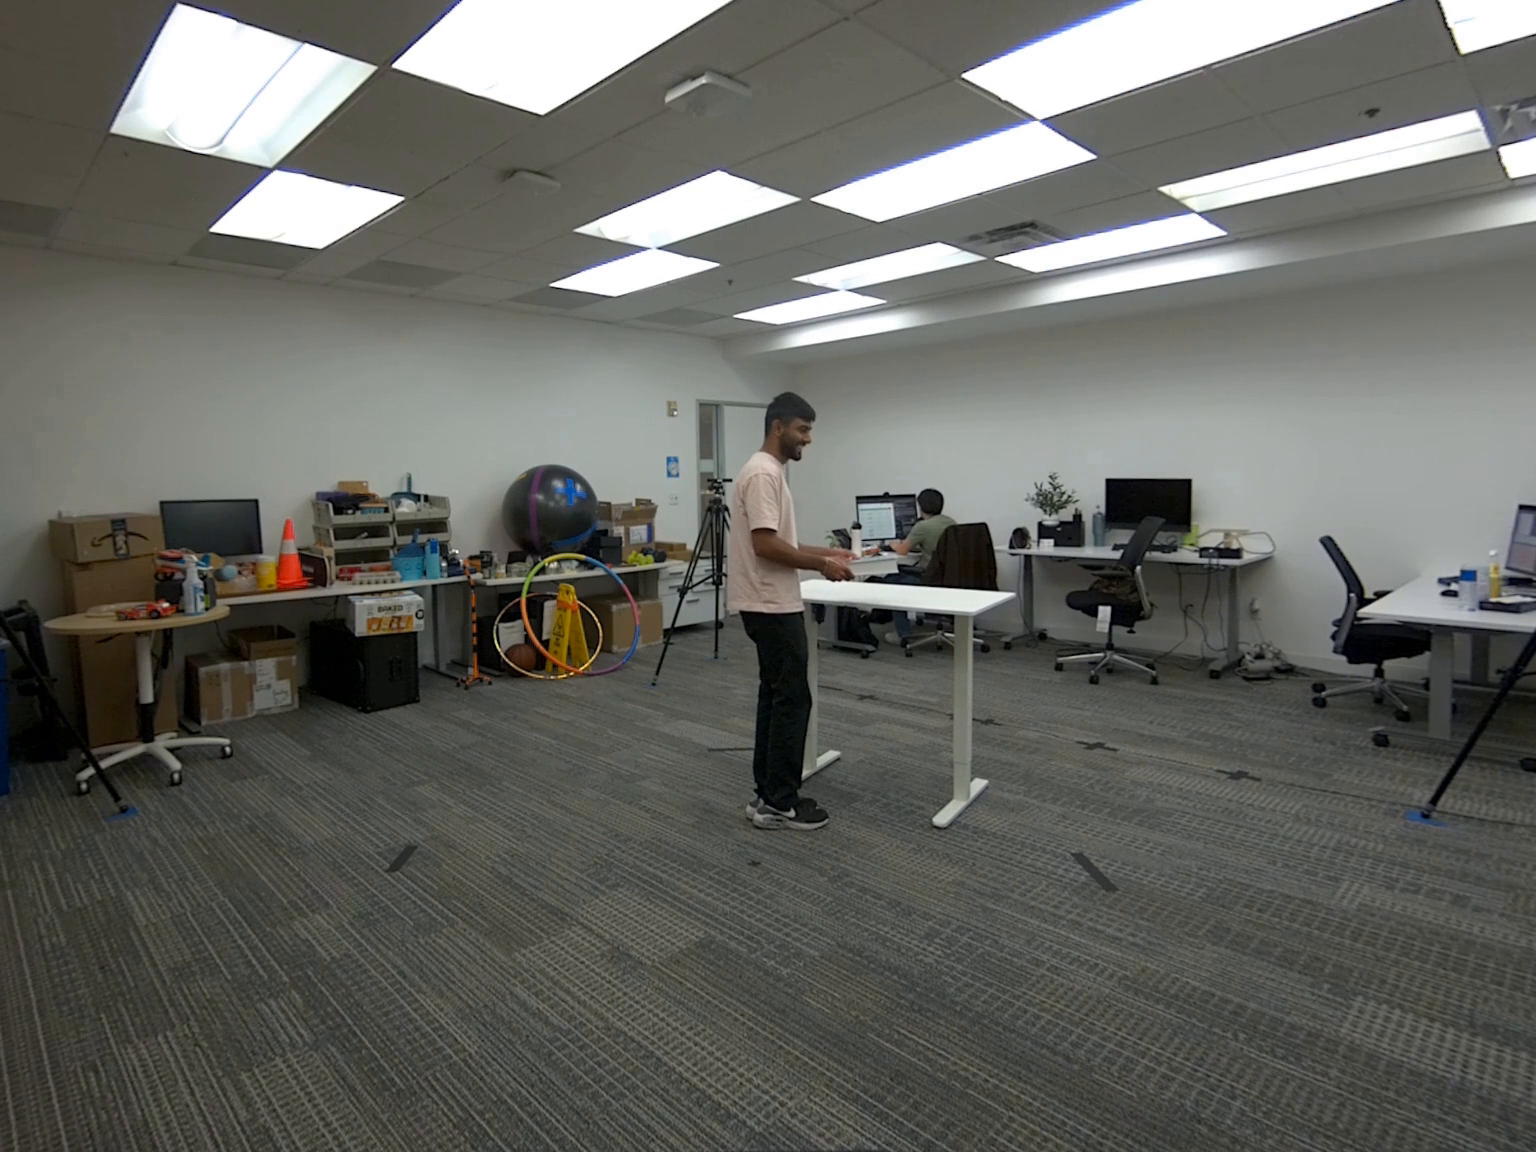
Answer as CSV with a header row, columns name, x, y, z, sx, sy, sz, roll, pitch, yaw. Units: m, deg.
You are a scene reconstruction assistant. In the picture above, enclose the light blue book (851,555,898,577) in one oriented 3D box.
name,x,y,z,sx,sy,sz,roll,pitch,yaw
light blue book,0.378,-0.038,3.441,0.263,0.059,0.190,-5,3,8
